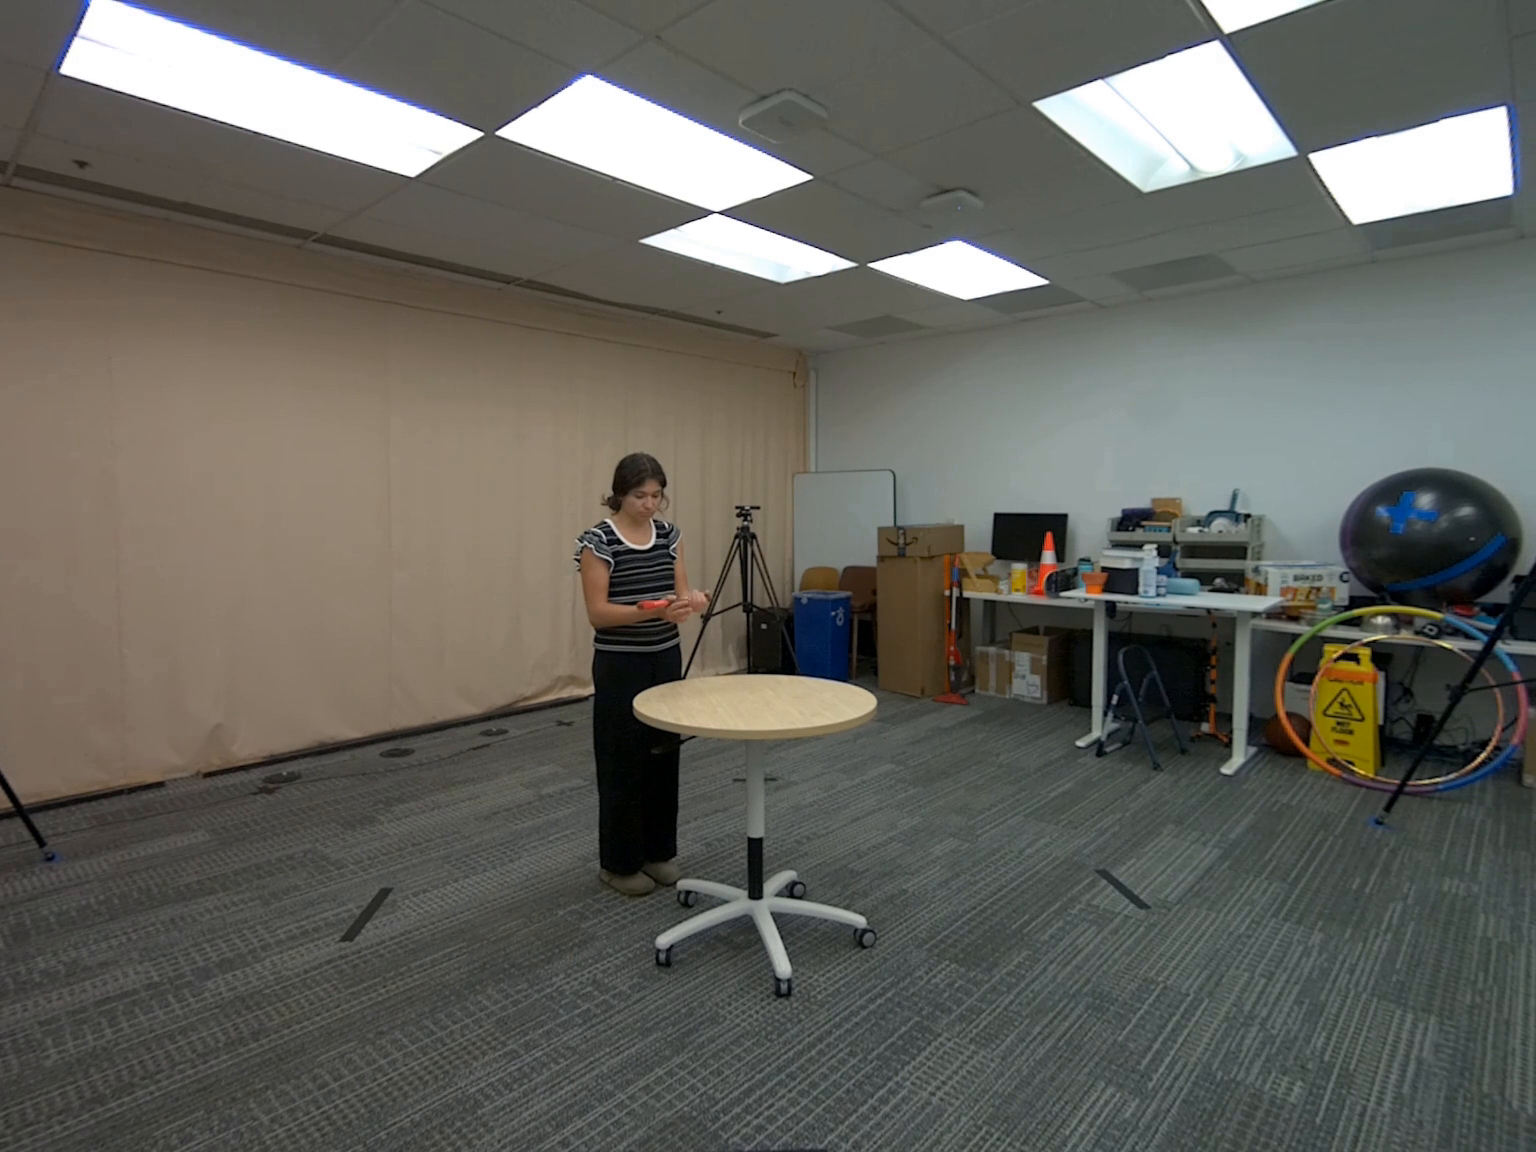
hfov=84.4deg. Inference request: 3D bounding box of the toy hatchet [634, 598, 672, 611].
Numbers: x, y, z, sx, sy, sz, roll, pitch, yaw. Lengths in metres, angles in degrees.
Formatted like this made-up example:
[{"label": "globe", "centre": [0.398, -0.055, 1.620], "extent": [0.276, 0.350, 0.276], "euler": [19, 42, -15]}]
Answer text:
[{"label": "toy hatchet", "centre": [-0.306, 0.081, 2.808], "extent": [0.266, 0.029, 0.133], "euler": [-6, -1, -15]}]
